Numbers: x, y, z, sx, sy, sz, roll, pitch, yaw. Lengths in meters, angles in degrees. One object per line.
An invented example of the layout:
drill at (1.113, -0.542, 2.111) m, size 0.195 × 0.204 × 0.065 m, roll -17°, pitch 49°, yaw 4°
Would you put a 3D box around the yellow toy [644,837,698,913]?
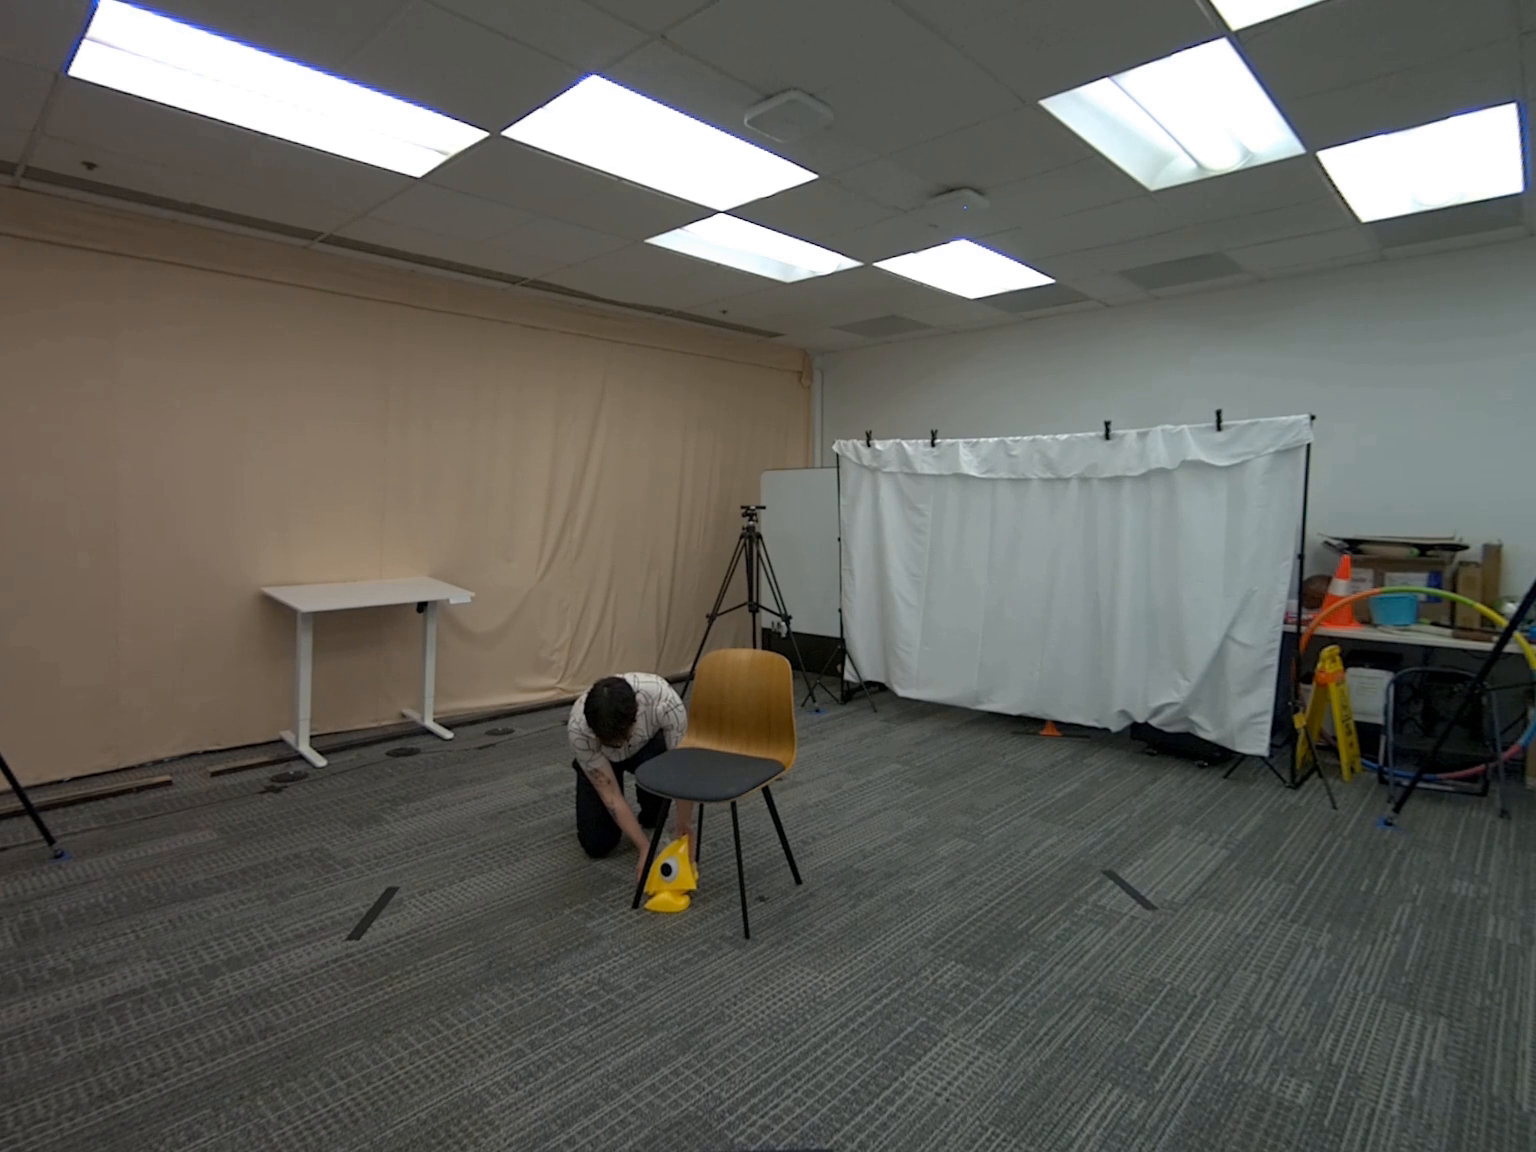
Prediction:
yellow toy at (-0.351, 1.034, 2.981) m, size 0.192 × 0.230 × 0.206 m, roll -2°, pitch 3°, yaw -4°
